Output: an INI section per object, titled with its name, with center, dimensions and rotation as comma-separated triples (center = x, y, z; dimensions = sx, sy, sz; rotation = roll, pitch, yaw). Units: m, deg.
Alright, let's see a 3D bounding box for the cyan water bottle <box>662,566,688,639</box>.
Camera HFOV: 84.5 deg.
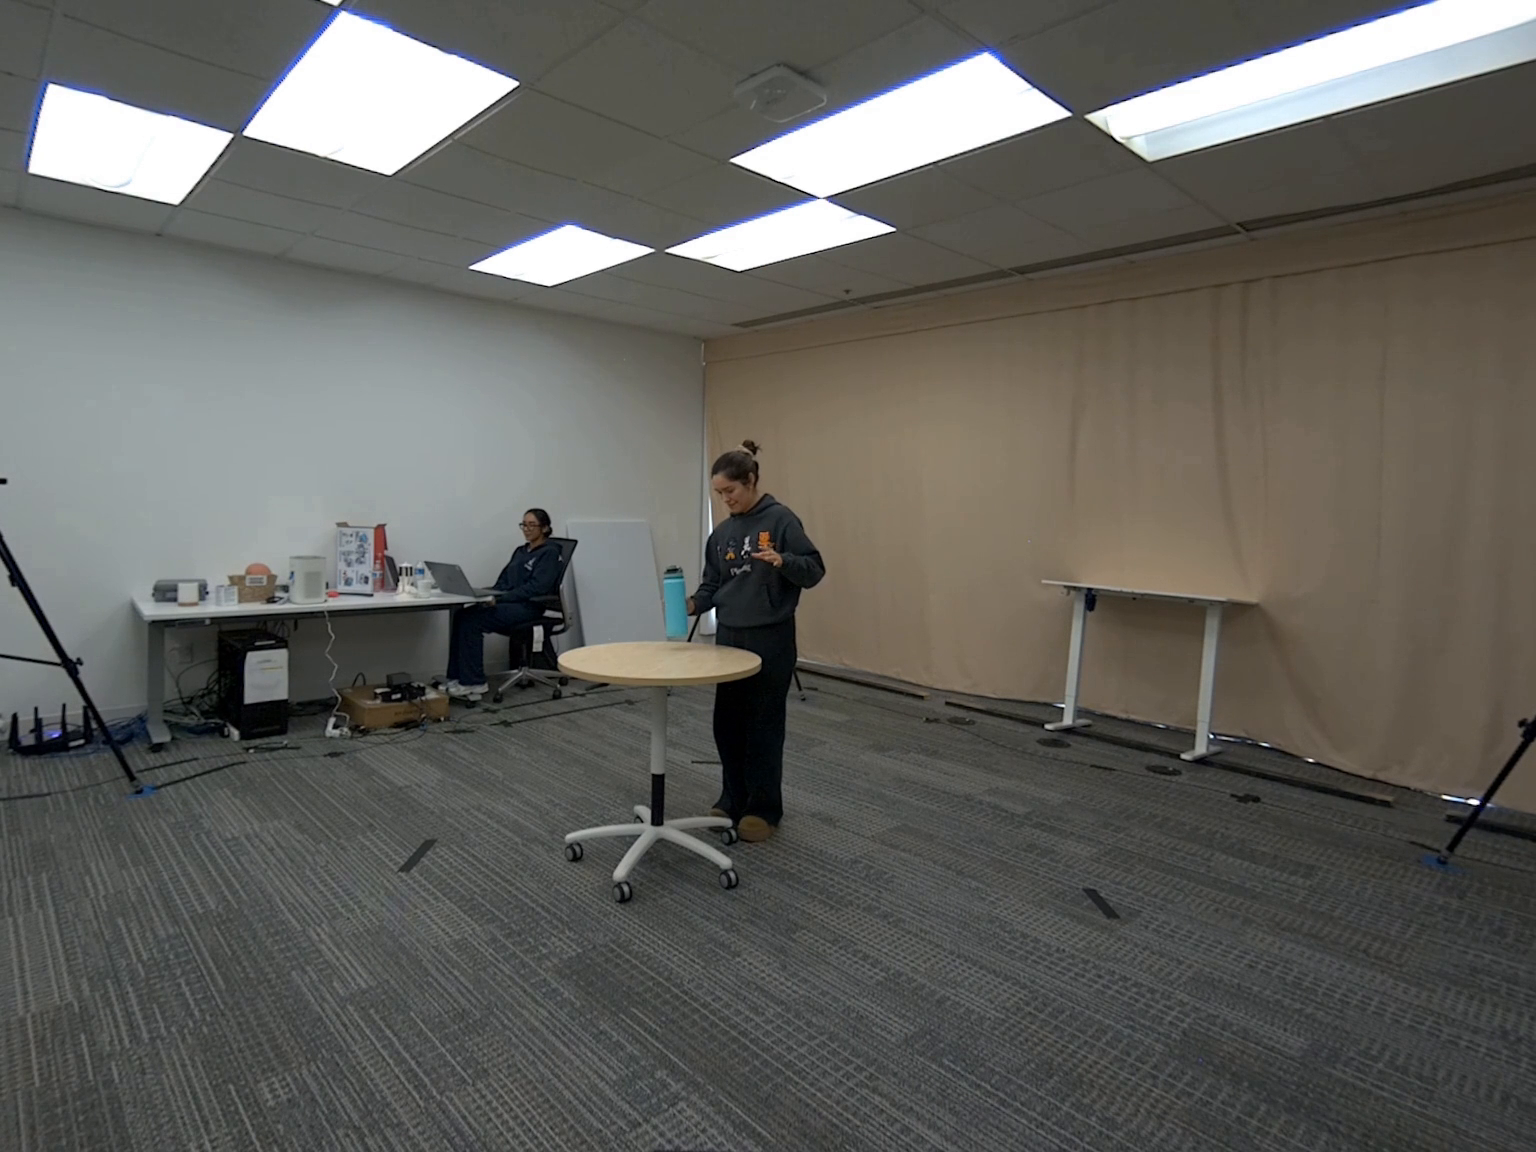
[cyan water bottle]
center = -0.382, 0.096, 3.400
dimensions = 0.092, 0.283, 0.092
rotation = -4, 0, -1
